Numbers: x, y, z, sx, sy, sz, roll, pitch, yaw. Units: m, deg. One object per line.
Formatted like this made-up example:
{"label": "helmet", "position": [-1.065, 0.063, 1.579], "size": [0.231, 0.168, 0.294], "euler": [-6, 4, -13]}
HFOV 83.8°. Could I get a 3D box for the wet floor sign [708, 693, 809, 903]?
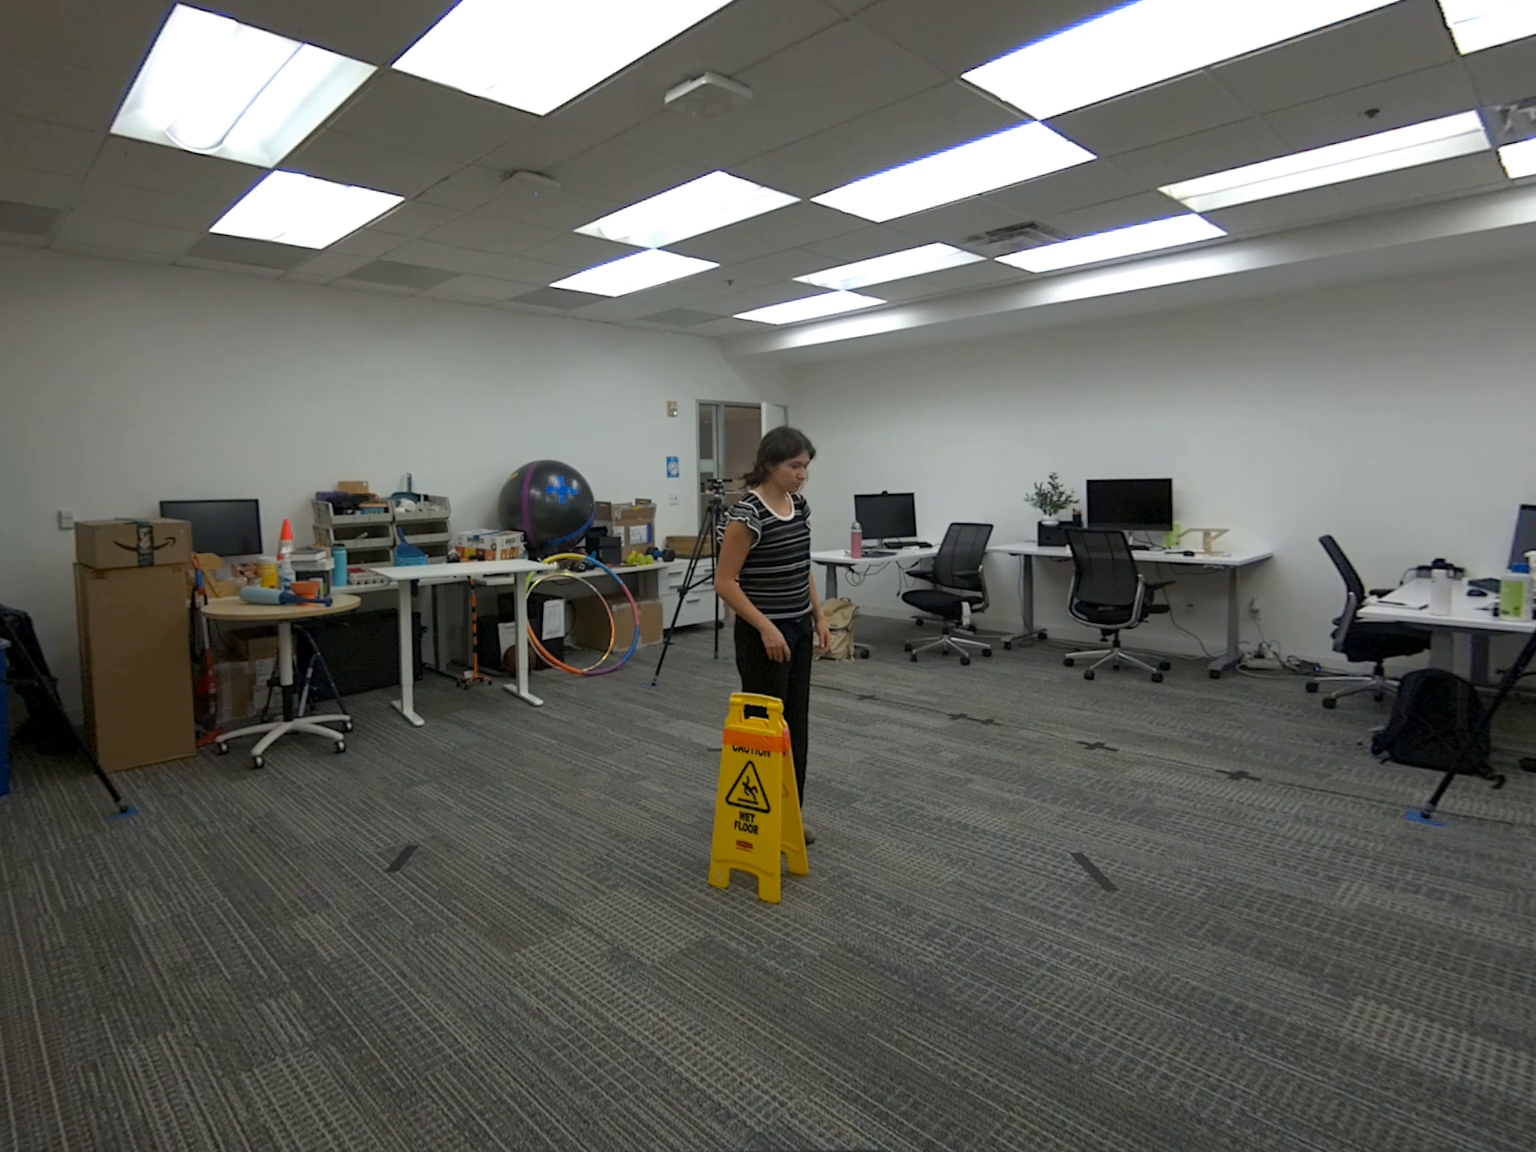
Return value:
{"label": "wet floor sign", "position": [-0.034, 0.739, 2.957], "size": [0.289, 0.644, 0.283], "euler": [1, 5, 30]}
